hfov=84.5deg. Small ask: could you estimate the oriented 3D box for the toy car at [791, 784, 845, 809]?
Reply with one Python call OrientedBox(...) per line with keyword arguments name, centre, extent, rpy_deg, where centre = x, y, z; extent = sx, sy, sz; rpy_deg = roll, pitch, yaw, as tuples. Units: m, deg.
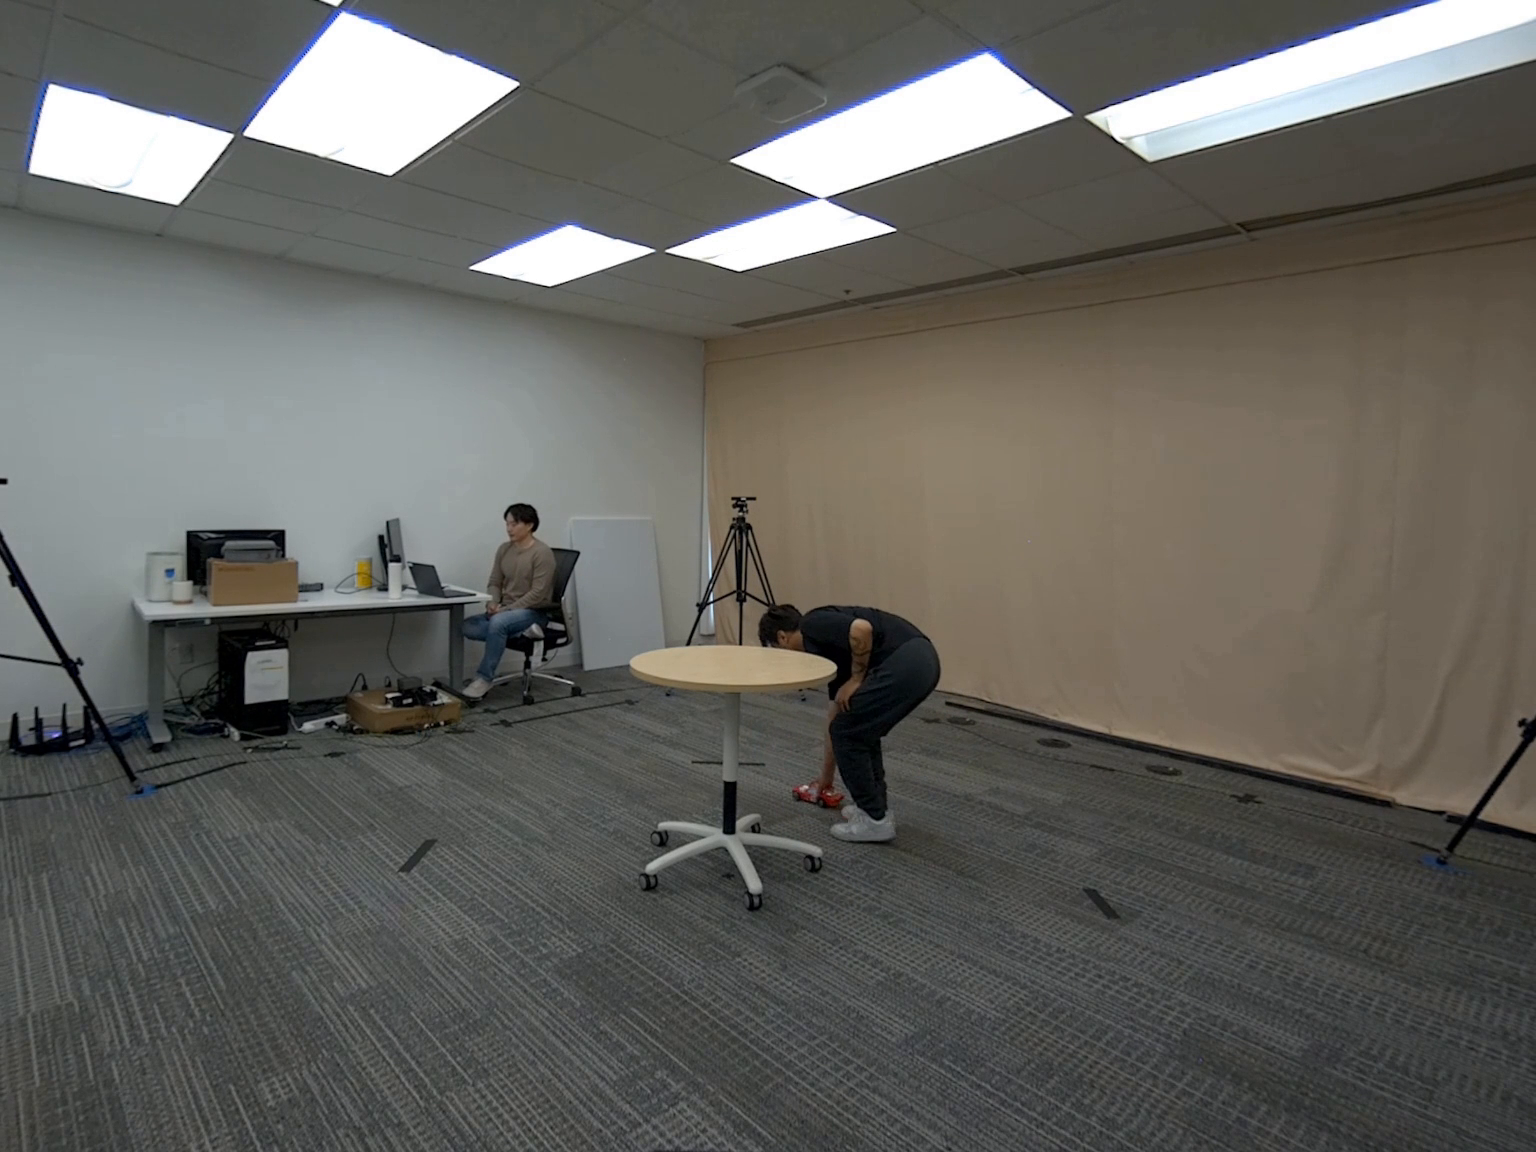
OrientedBox(name="toy car", centre=(0.223, 1.019, 3.905), extent=(0.259, 0.083, 0.127), rpy_deg=(-8, -3, 38))
